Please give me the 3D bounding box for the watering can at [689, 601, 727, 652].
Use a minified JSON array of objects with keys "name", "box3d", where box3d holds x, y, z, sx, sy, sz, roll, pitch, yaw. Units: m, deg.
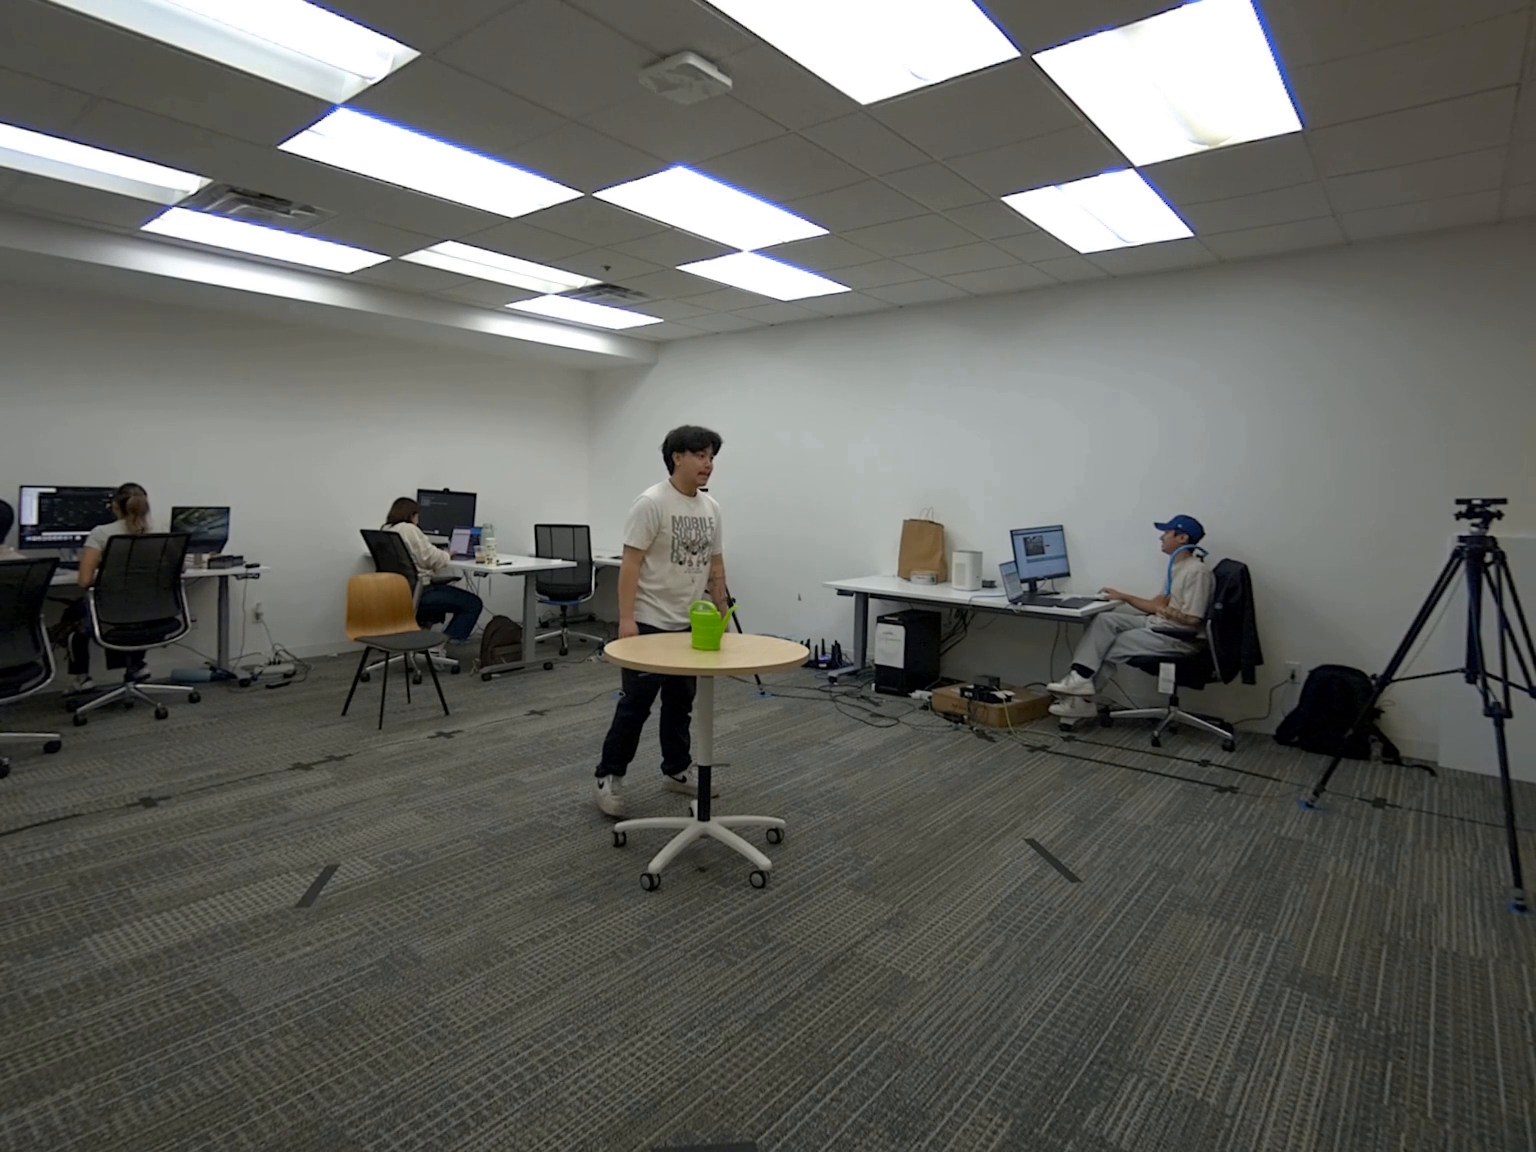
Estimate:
[{"name":"watering can","box3d":[-0.228,0.183,3.158,0.095,0.176,0.286,-4,4,-28]}]
